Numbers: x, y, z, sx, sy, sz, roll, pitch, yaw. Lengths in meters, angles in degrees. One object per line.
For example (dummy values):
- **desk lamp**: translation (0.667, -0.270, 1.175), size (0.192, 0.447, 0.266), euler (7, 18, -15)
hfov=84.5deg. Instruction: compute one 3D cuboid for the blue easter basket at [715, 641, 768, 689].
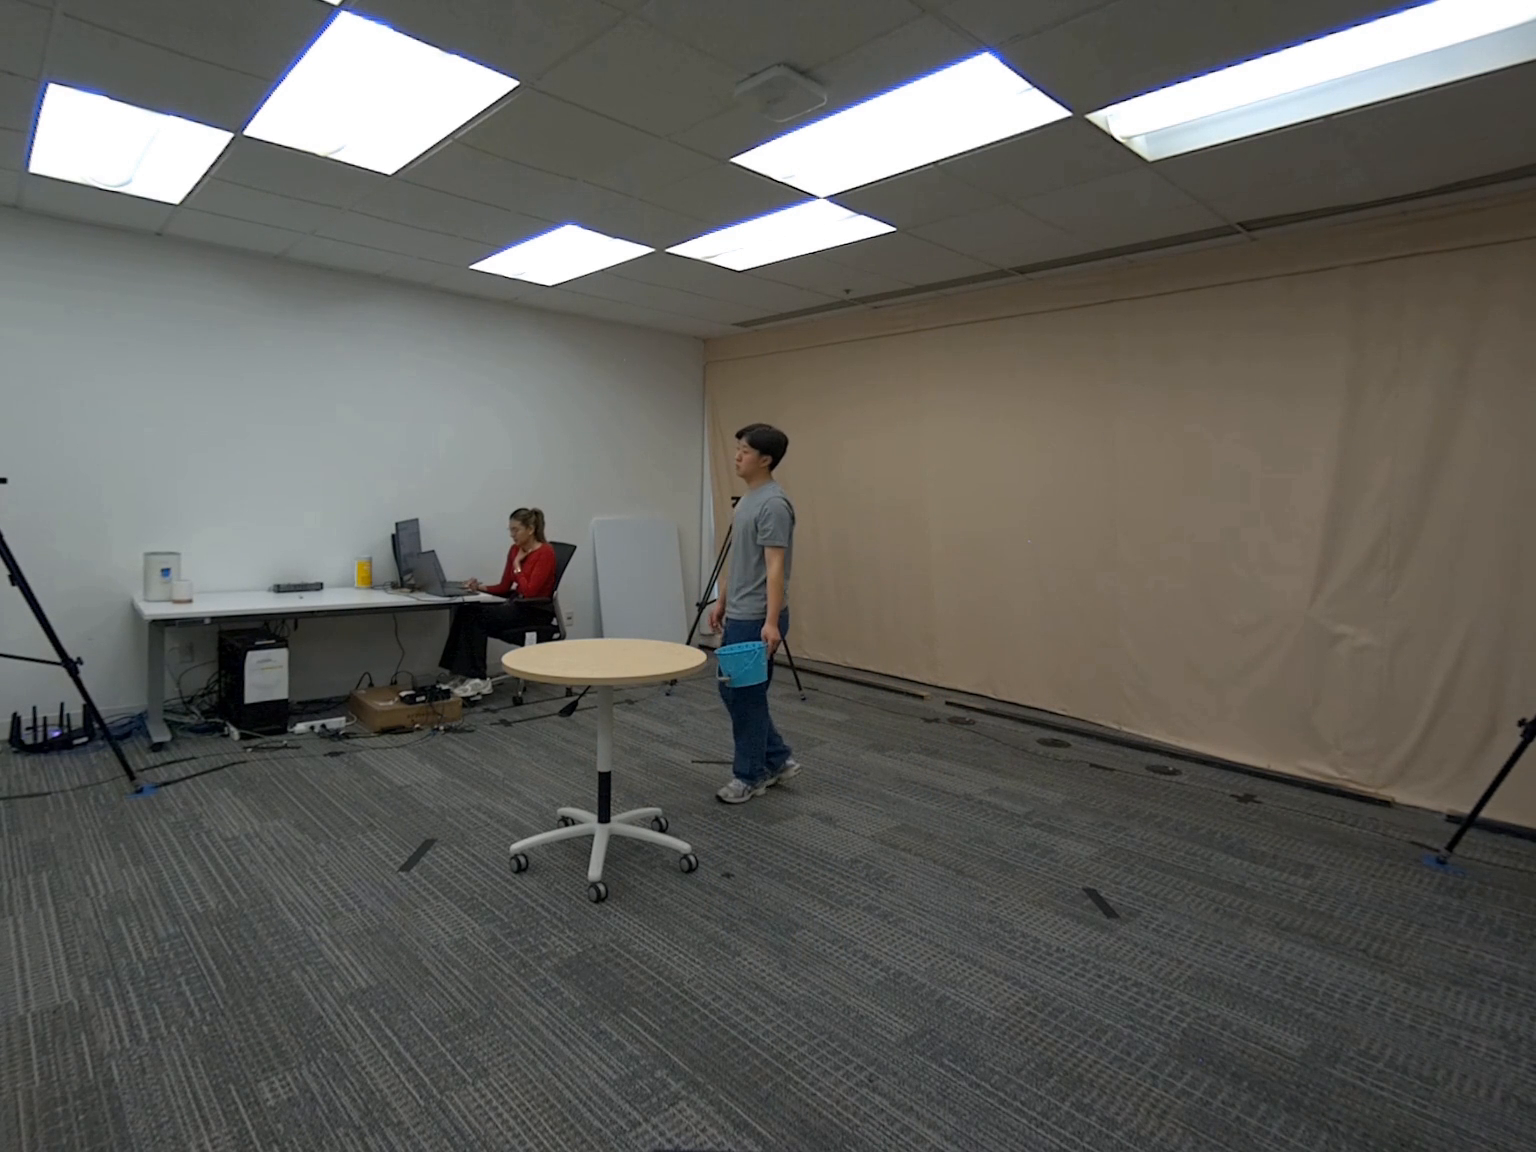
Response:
- **blue easter basket**: translation (-0.131, 0.380, 3.616), size (0.243, 0.156, 0.244), euler (-8, 1, -1)
